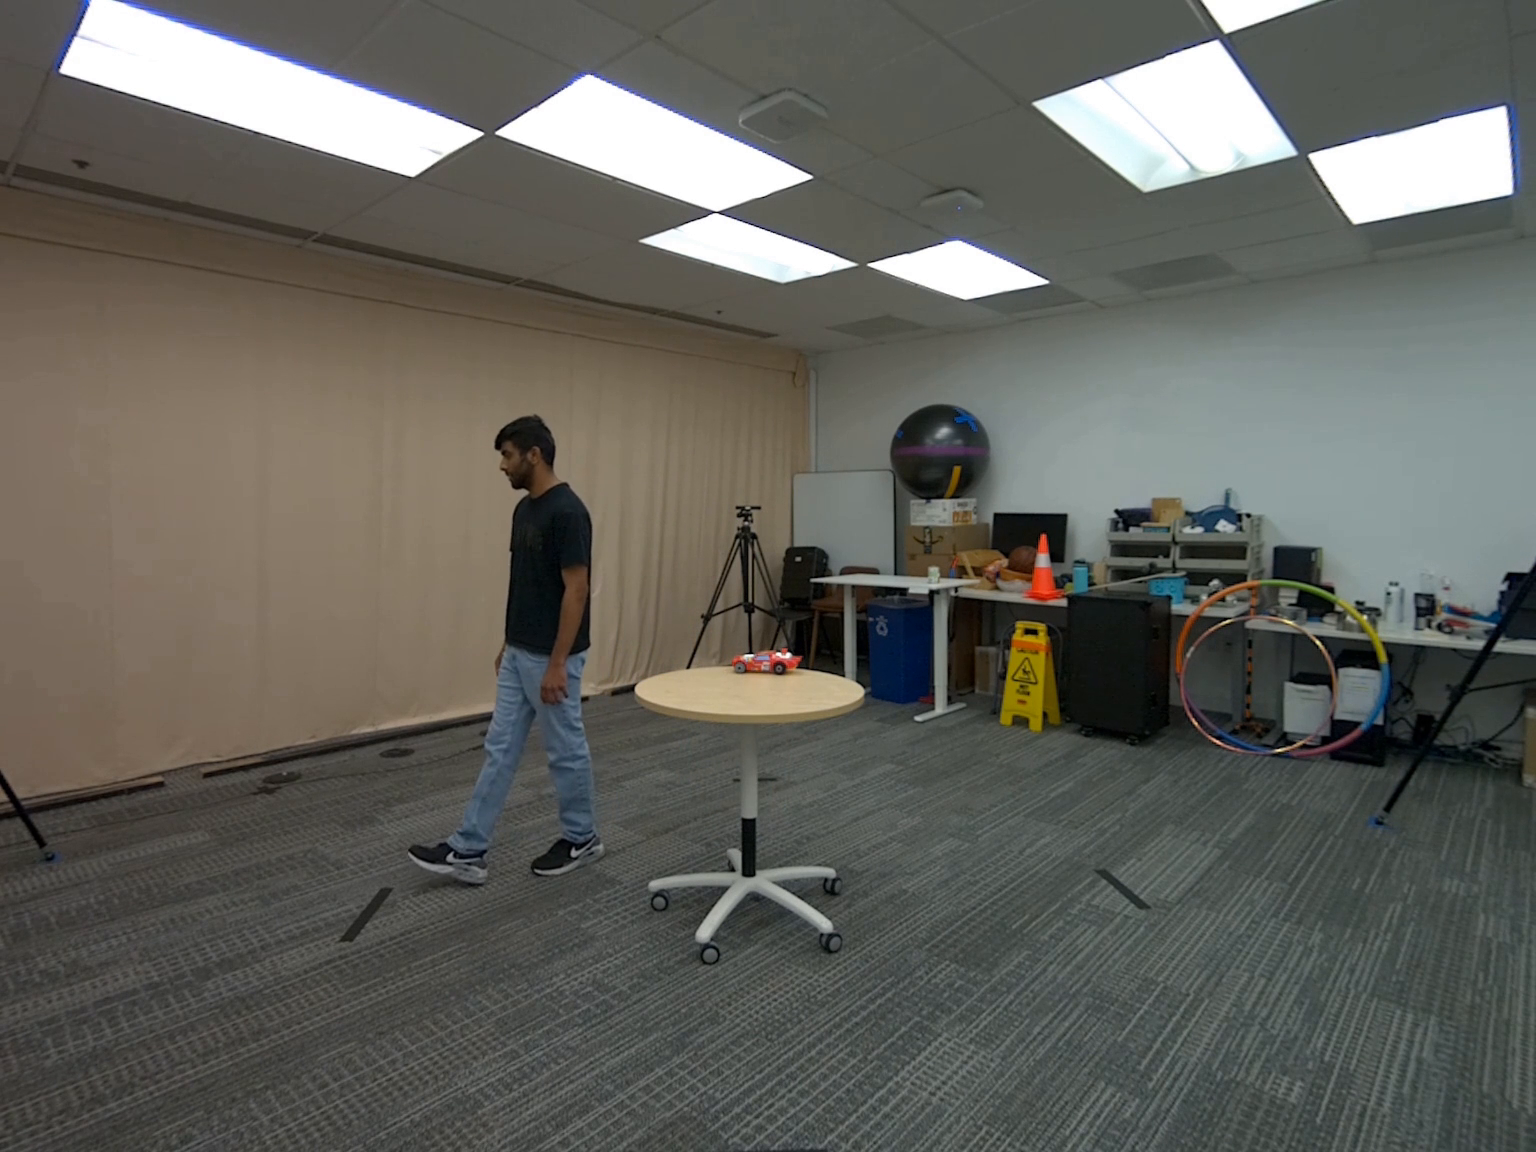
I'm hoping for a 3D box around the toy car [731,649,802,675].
[{"bbox_3d":[0.002,0.321,3.090,0.257,0.083,0.129,-10,1,12],"label":"toy car"}]
